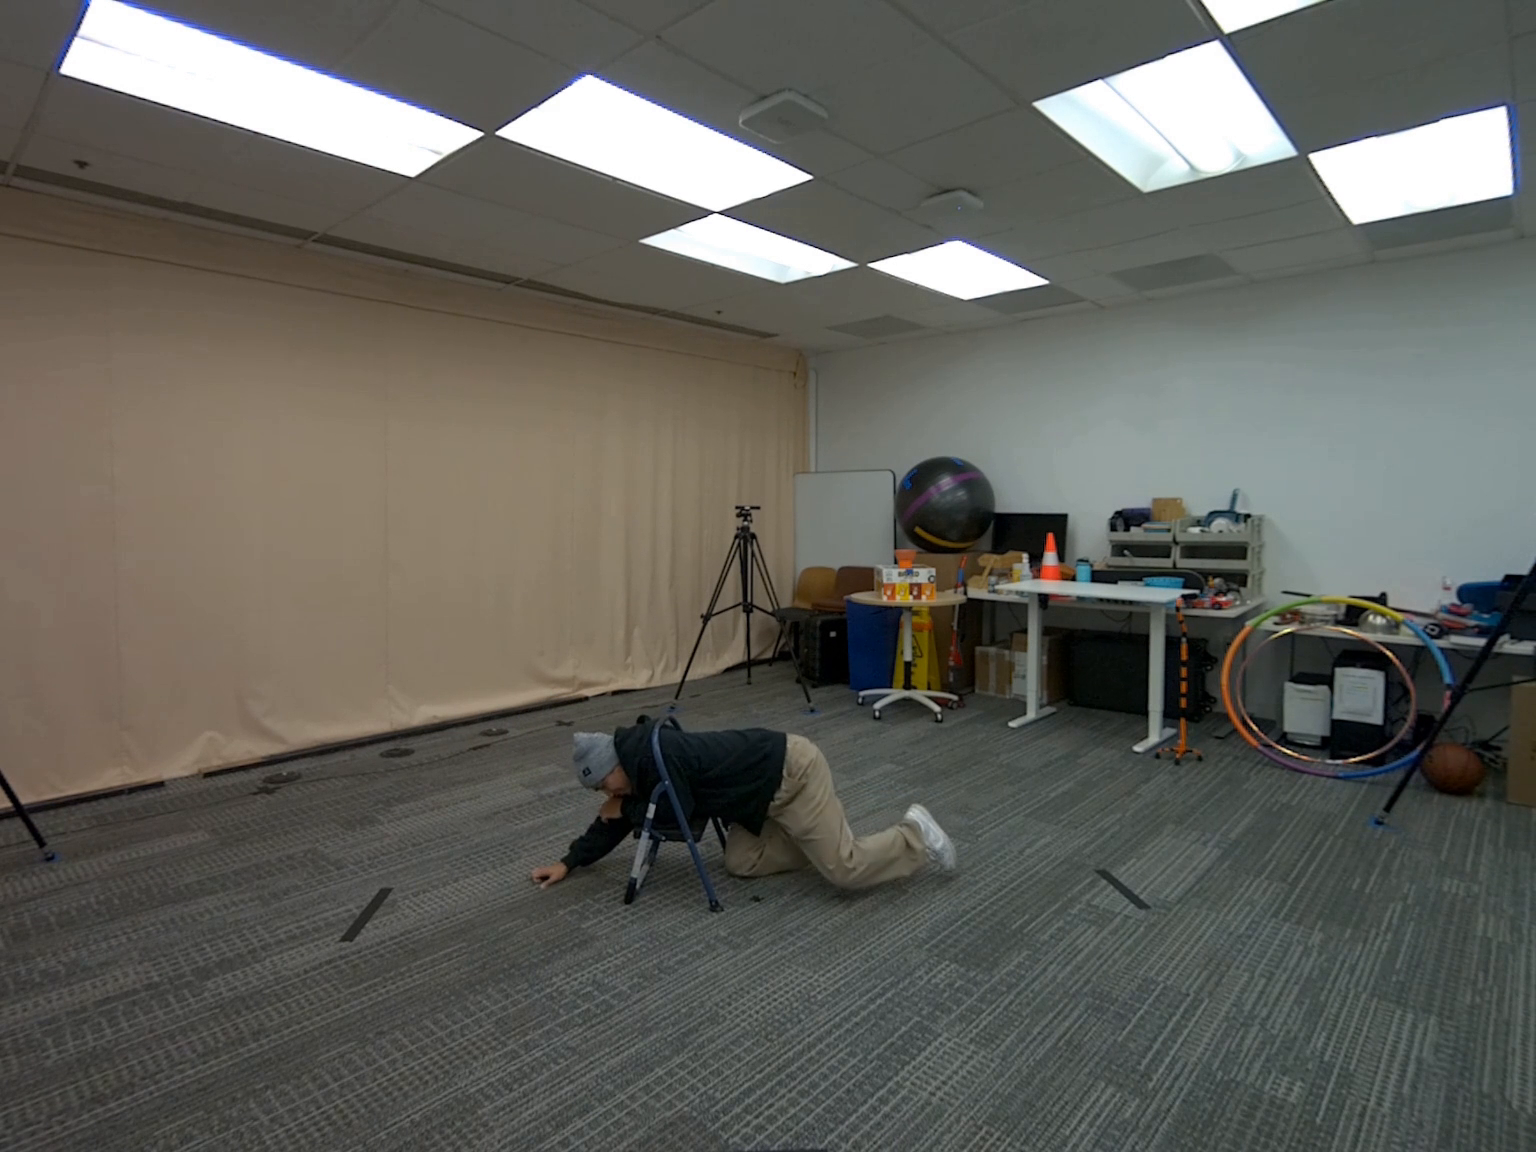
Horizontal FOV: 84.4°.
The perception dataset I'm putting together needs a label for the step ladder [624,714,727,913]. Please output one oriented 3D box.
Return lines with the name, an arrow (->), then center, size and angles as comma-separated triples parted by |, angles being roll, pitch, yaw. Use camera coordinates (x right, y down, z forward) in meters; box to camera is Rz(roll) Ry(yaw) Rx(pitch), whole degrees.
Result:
step ladder -> -0.321, 0.834, 3.096 | 0.350, 0.605, 0.430 | 3, 2, 2
